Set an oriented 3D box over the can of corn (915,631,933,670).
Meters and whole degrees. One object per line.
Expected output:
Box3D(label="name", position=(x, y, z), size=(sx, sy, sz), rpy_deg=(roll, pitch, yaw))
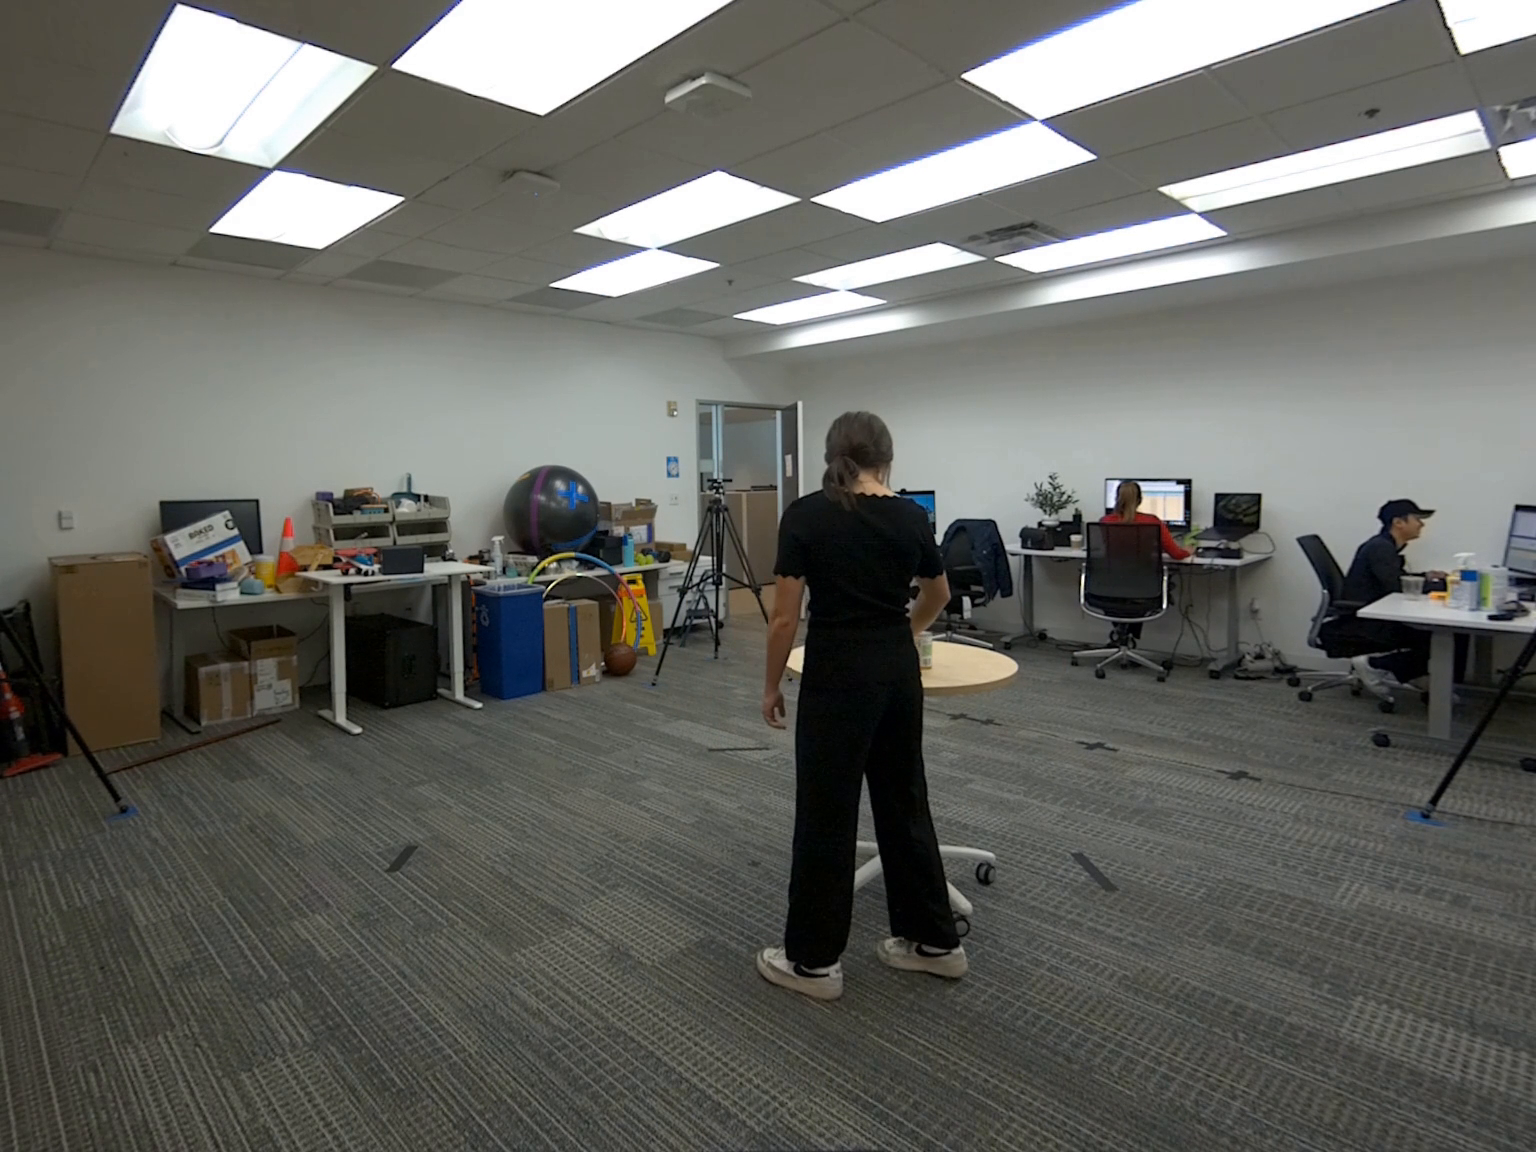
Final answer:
Box3D(label="can of corn", position=(0.493, 0.239, 2.730), size=(0.074, 0.110, 0.074), rpy_deg=(1, 5, -2))
